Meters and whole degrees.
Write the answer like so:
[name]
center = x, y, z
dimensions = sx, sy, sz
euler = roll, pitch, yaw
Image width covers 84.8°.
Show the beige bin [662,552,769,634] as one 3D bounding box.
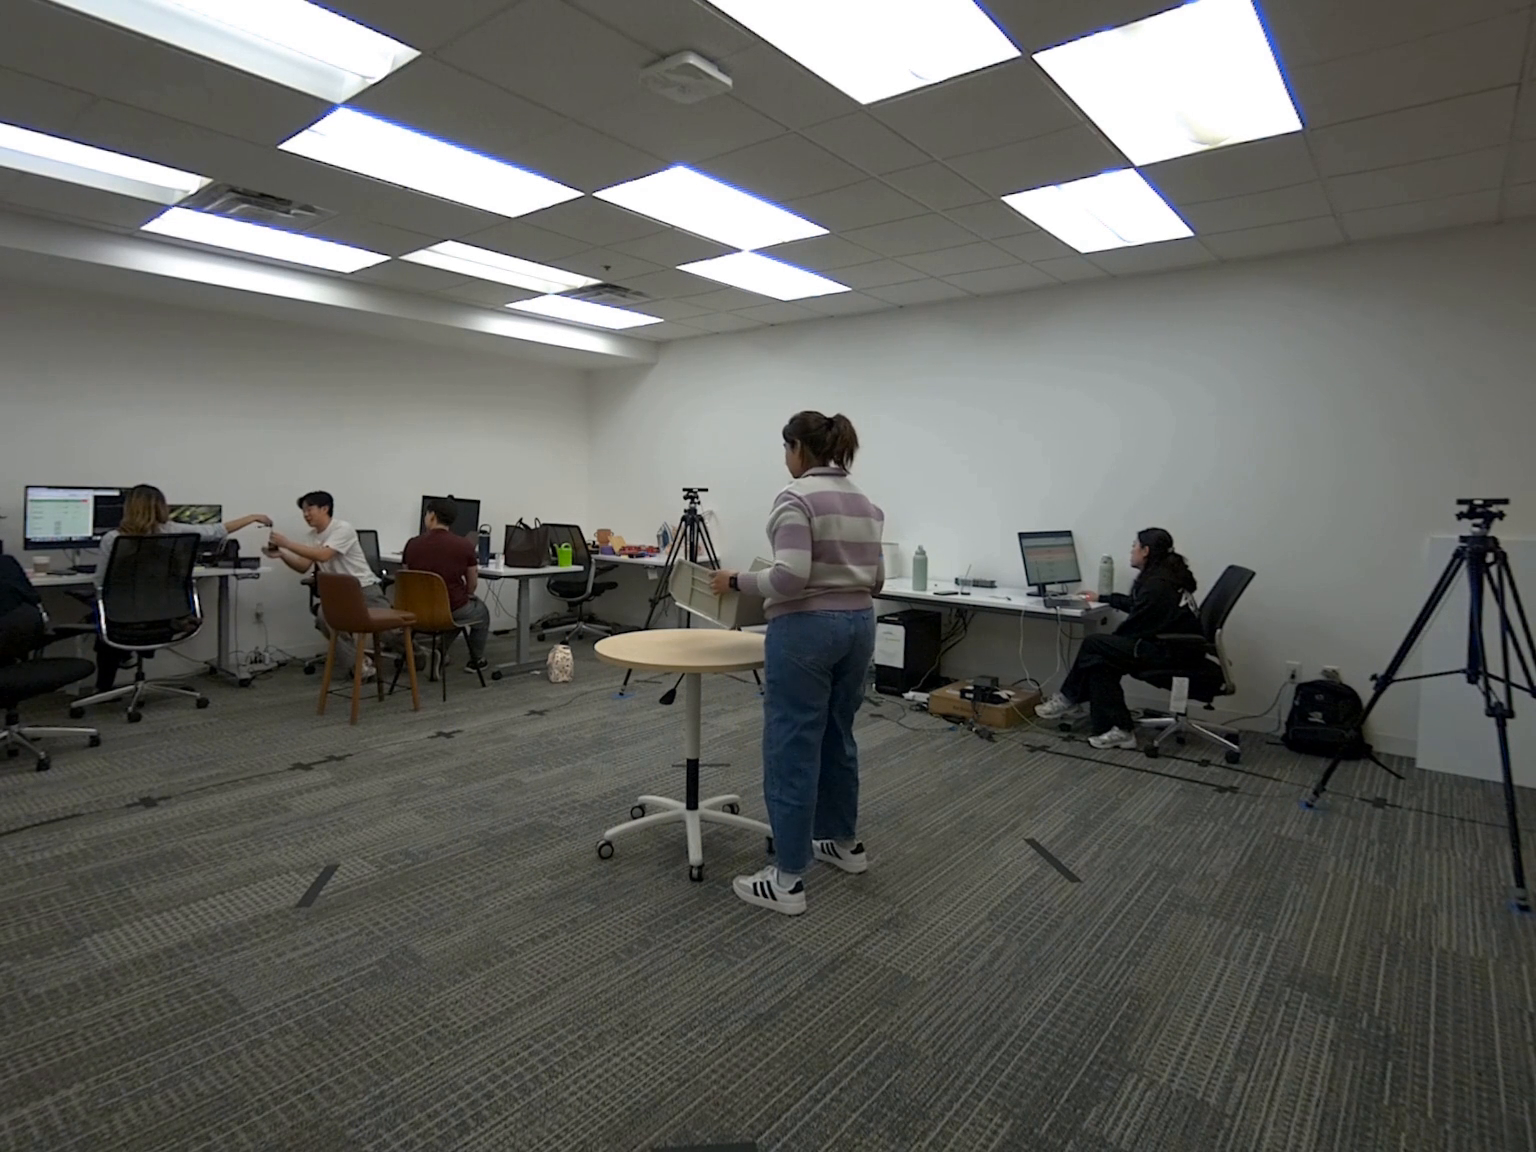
[beige bin]
center = -0.111, 0.050, 3.231
dimensions = 0.409, 0.187, 0.393
euler = -1, 17, -44
